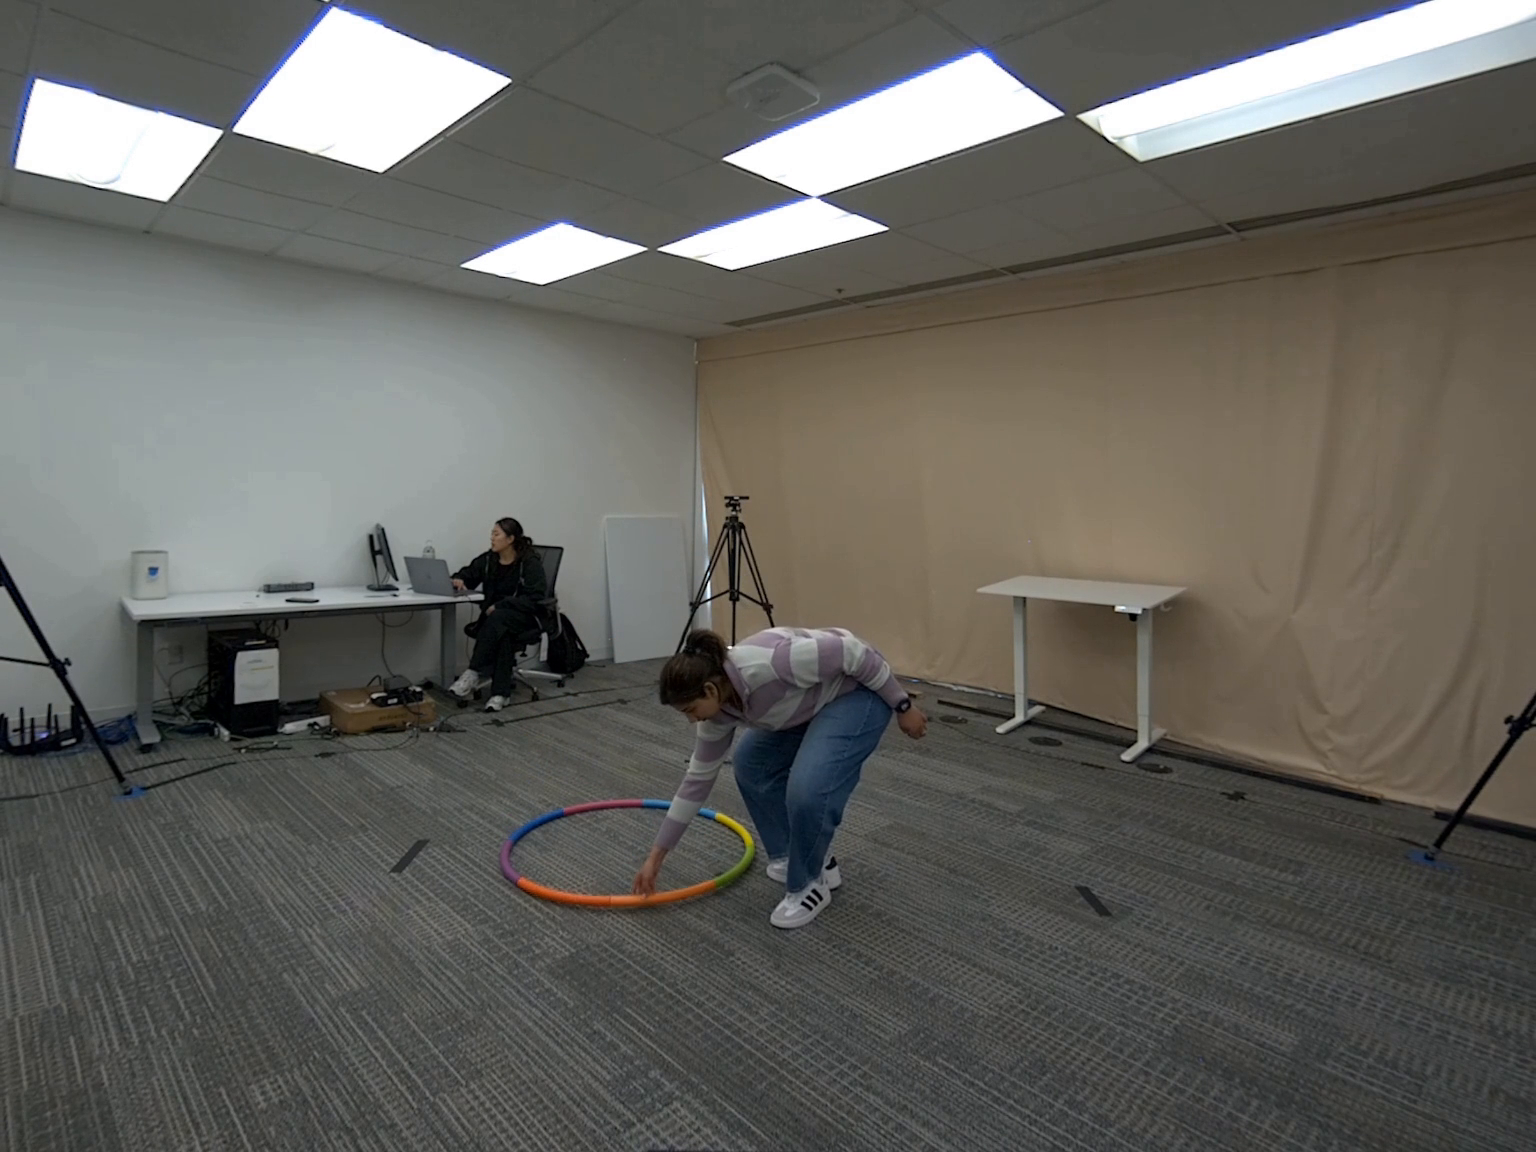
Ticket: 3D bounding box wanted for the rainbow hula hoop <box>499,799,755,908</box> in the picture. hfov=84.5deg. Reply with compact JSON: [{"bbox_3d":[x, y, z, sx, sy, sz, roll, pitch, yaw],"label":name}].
[{"bbox_3d":[-0.545,1.041,3.293,0.978,0.035,0.981,1,4,-1],"label":"rainbow hula hoop"}]
